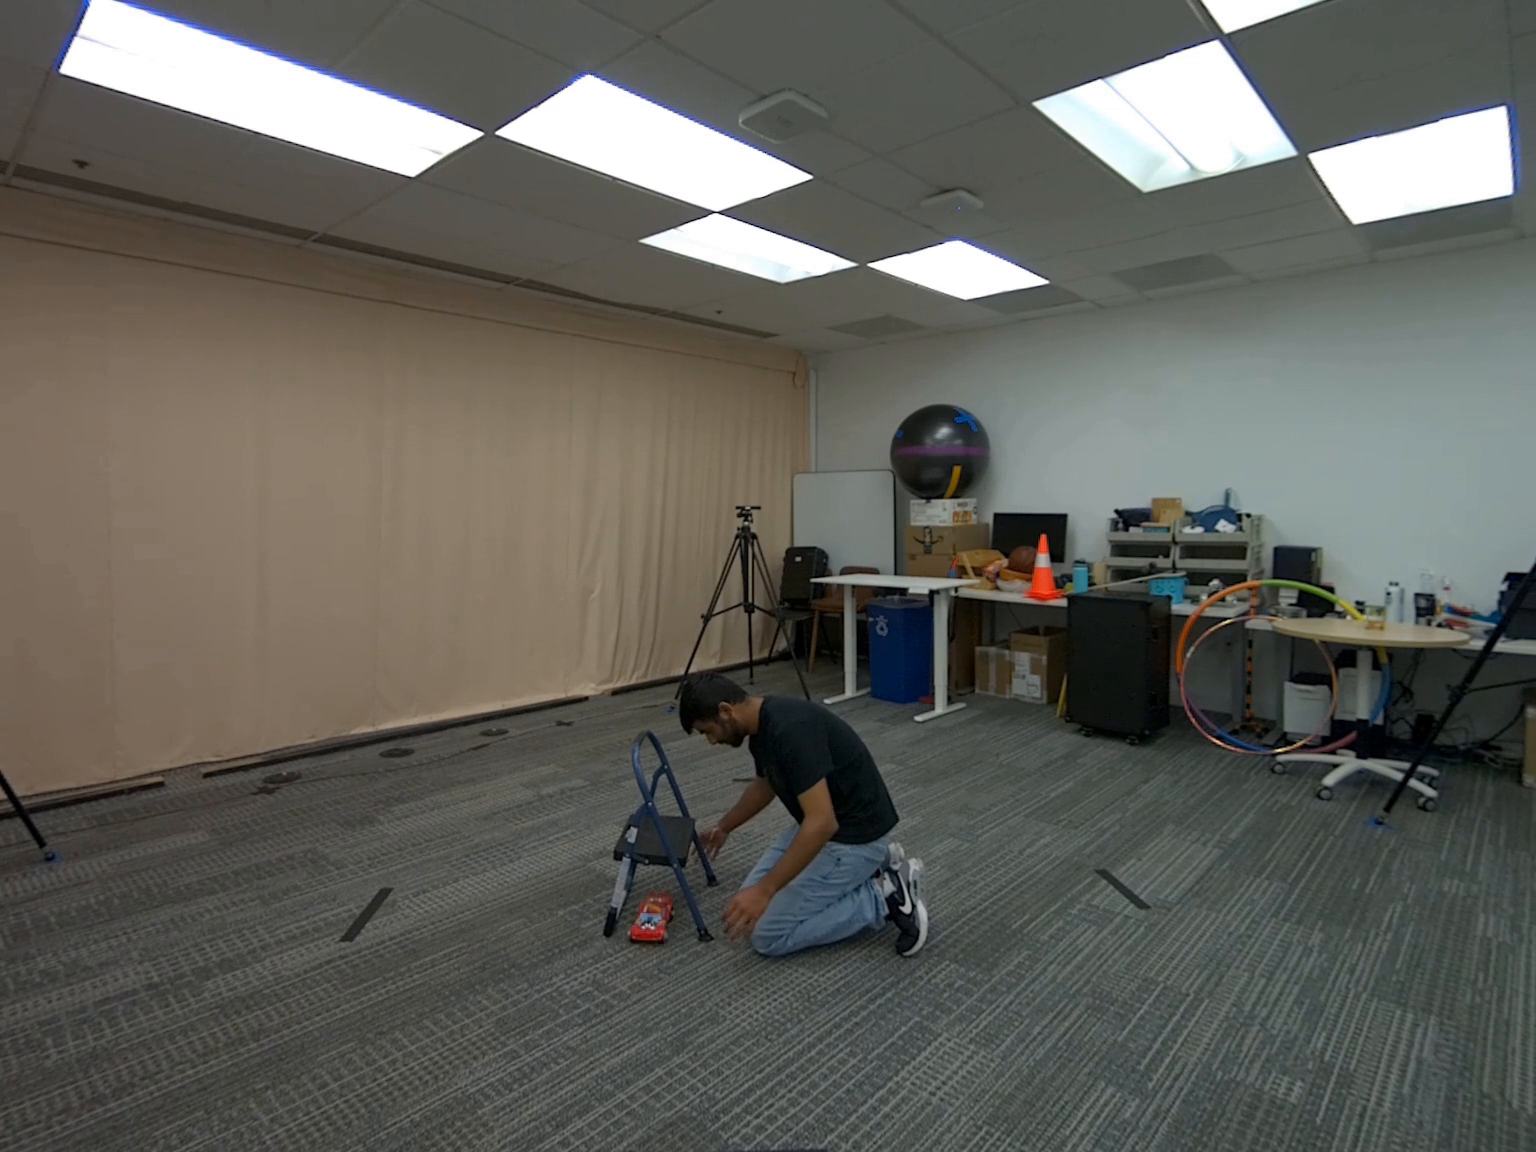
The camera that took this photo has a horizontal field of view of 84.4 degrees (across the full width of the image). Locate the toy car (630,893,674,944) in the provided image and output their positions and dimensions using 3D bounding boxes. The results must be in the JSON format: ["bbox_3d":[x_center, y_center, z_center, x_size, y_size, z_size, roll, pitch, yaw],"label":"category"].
[{"bbox_3d":[-0.376,1.134,2.799,0.131,0.082,0.256,-1,15,3],"label":"toy car"}]
